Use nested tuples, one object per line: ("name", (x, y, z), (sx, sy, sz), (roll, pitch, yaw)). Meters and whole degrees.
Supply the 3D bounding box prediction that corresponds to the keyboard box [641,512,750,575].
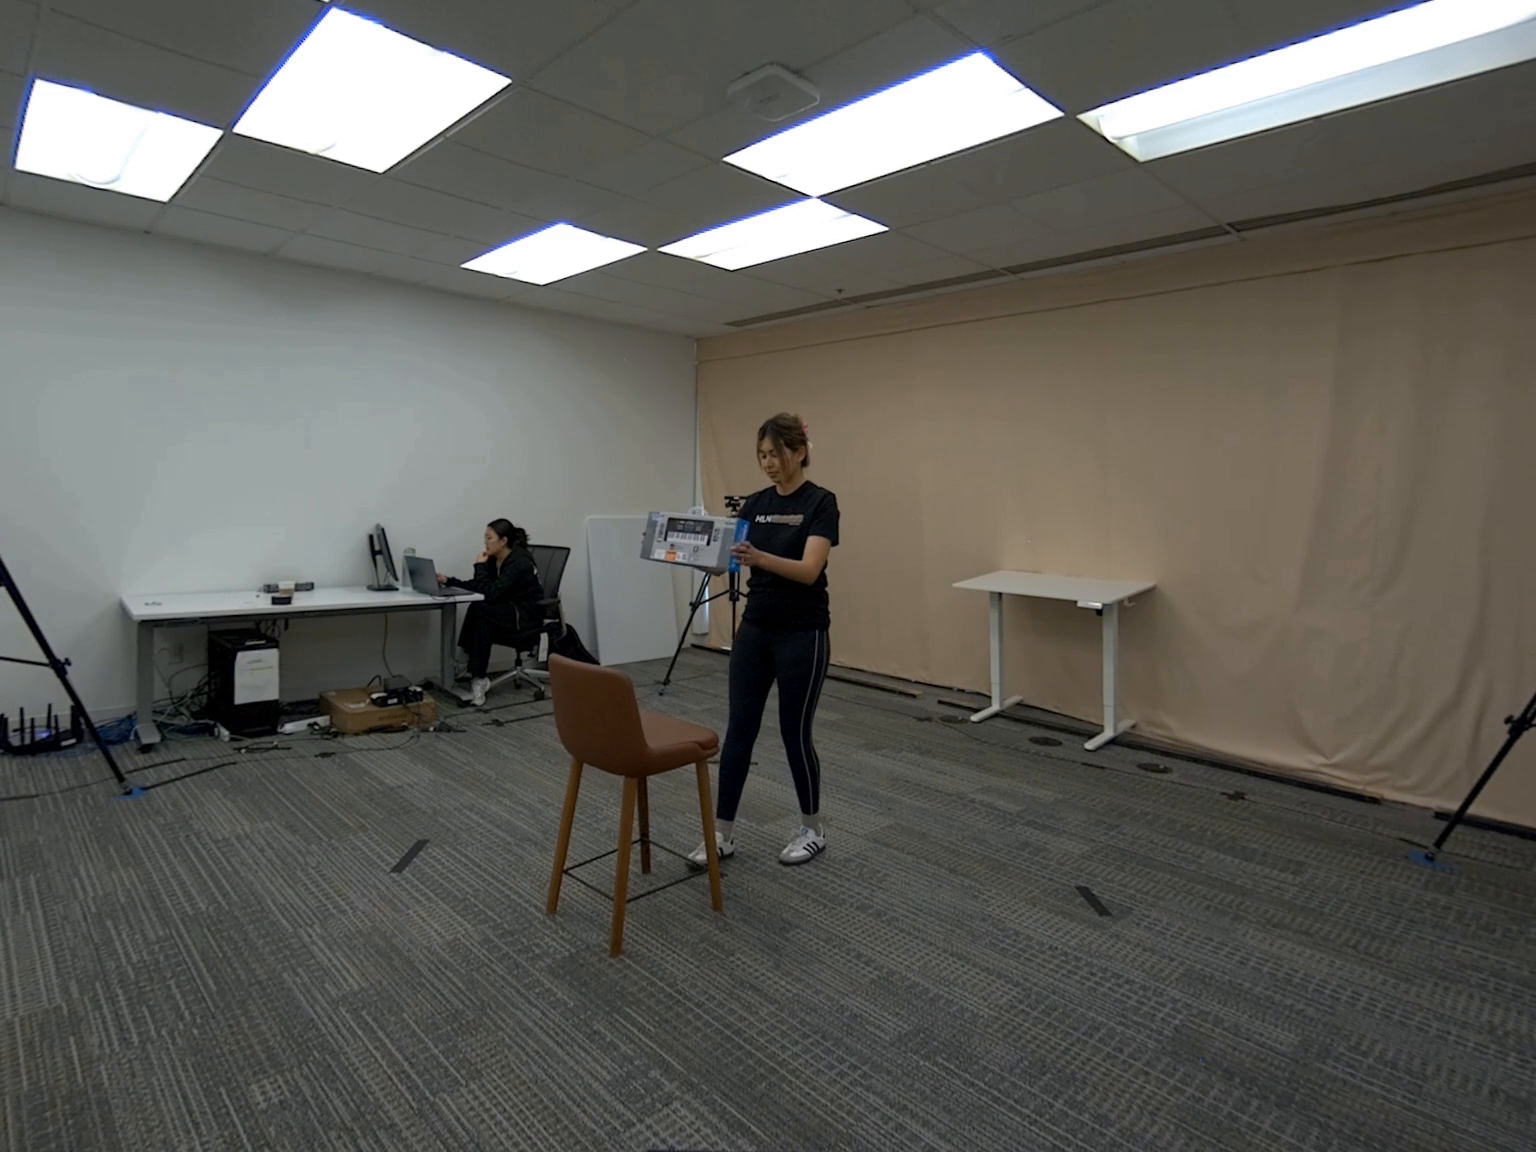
("keyboard box", (-0.266, -0.115, 2.882), (0.448, 0.176, 0.057), (8, -6, 41))
